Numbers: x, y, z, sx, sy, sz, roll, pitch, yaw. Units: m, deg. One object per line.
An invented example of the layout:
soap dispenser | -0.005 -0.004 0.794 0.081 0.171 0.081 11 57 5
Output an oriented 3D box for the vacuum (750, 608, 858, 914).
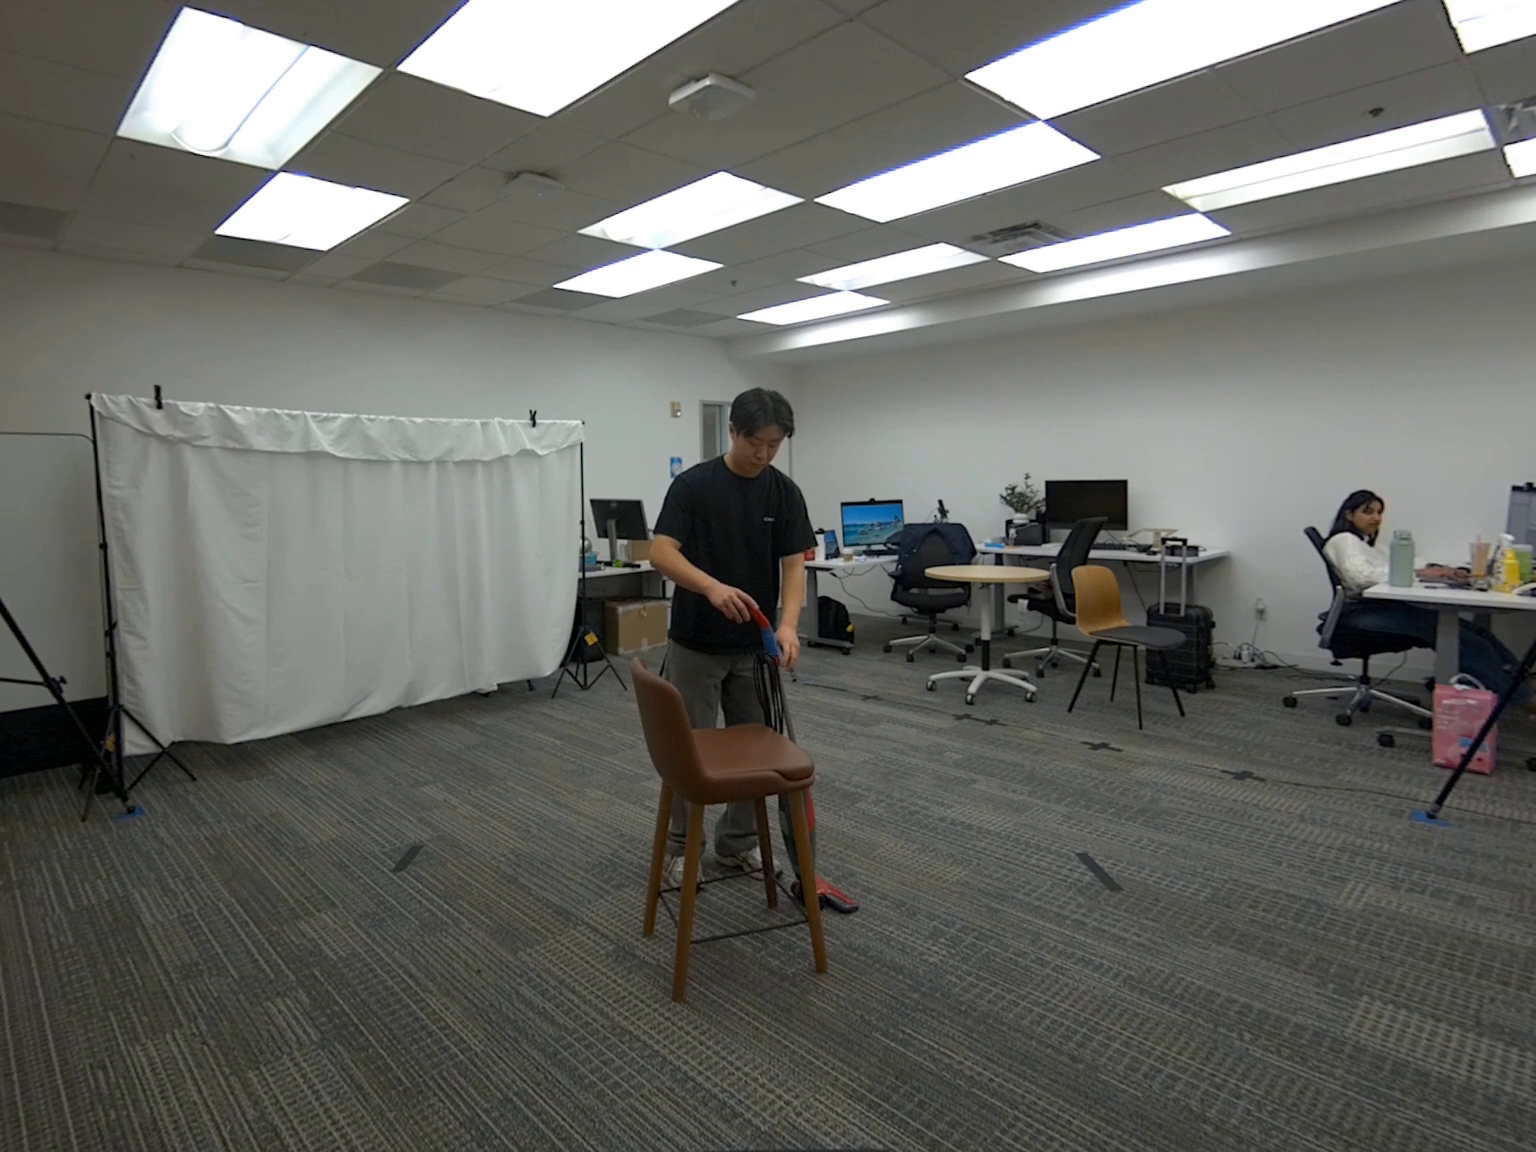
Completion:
vacuum | 0.057 0.579 2.734 0.141 1.037 0.260 -18 12 -32
